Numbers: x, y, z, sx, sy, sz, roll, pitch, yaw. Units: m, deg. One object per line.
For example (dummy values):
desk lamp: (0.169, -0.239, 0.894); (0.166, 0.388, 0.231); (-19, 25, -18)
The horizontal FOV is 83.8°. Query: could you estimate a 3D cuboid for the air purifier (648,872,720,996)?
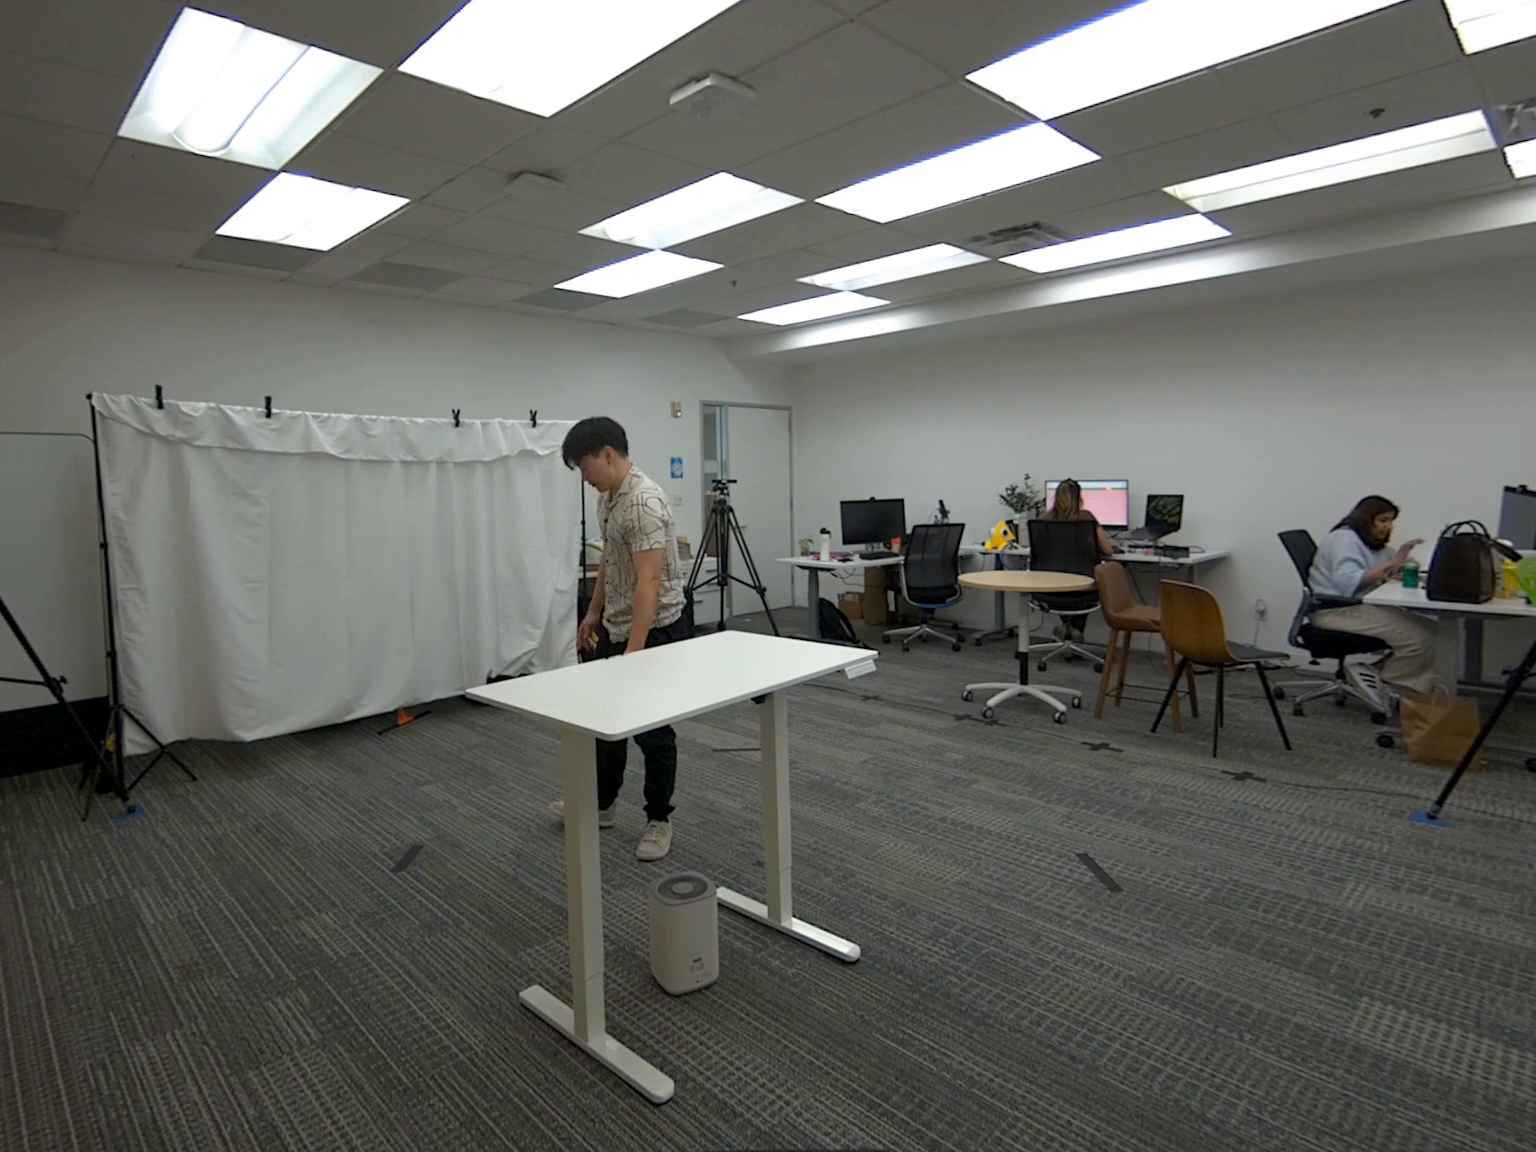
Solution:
air purifier: (-0.237, 1.006, 2.396); (0.167, 0.264, 0.176); (-4, 6, -31)
